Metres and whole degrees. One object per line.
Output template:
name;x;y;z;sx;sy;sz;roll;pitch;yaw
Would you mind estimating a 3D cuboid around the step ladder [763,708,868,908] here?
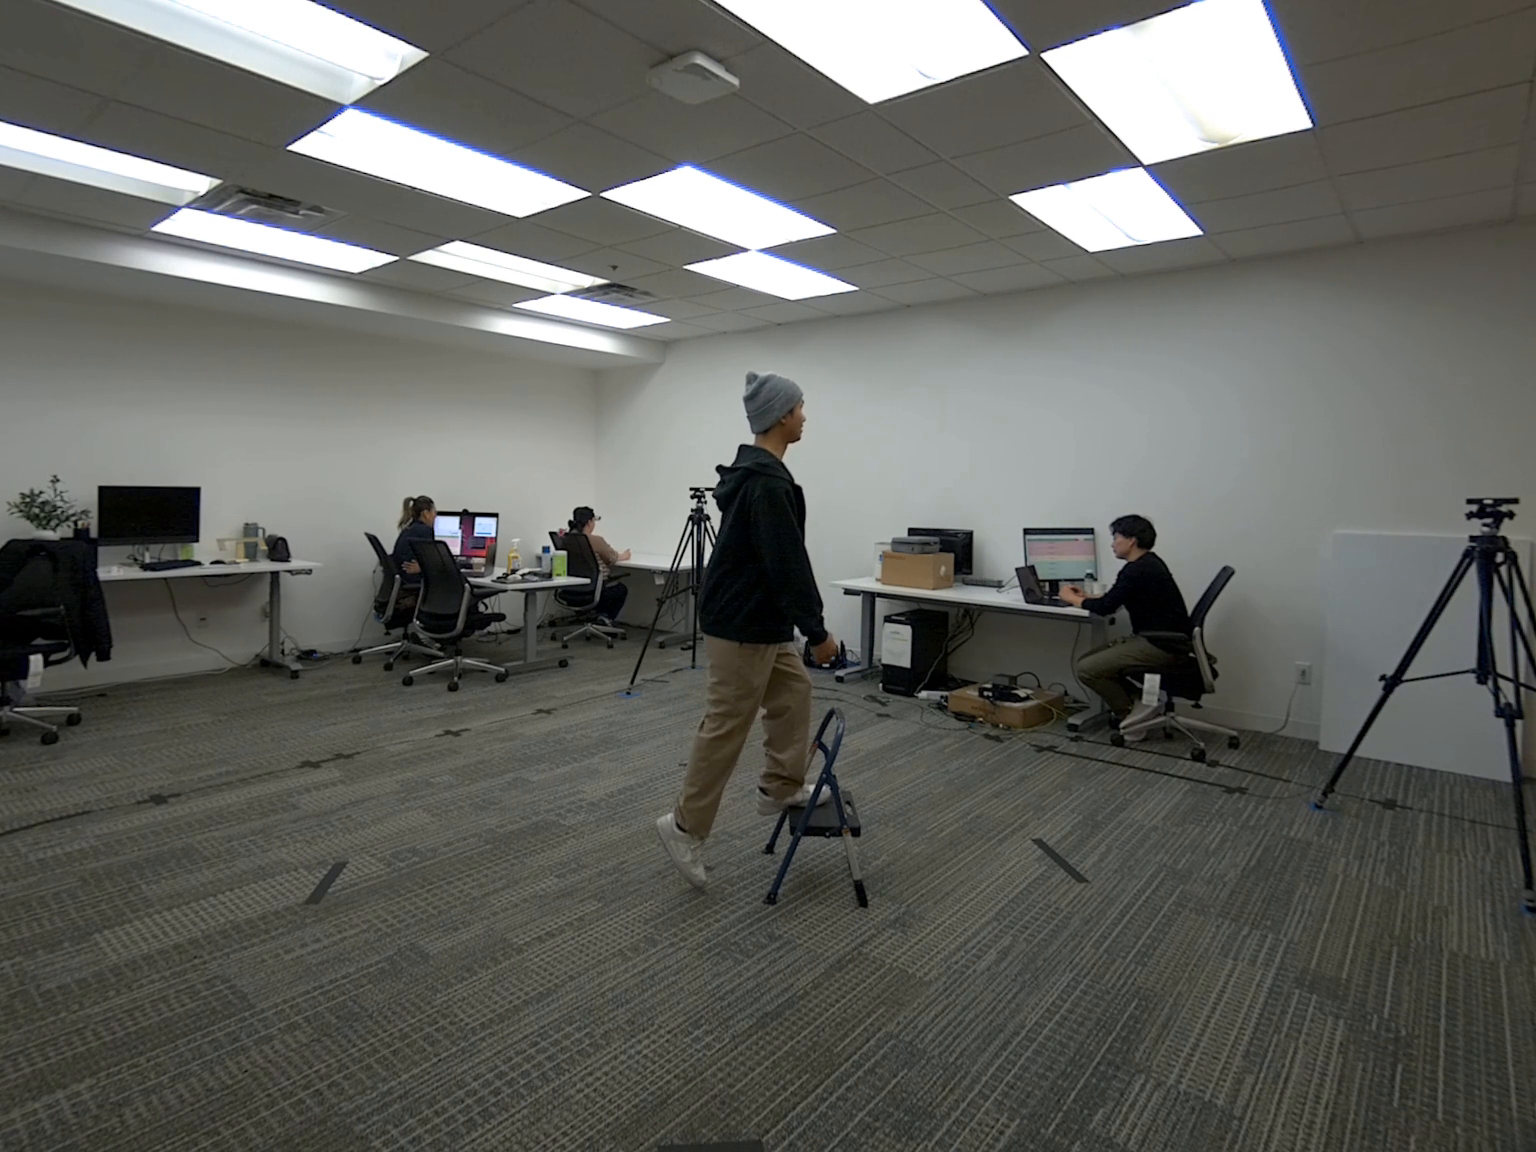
step ladder;0.159;0.782;3.038;0.349;0.604;0.432;1;3;0
